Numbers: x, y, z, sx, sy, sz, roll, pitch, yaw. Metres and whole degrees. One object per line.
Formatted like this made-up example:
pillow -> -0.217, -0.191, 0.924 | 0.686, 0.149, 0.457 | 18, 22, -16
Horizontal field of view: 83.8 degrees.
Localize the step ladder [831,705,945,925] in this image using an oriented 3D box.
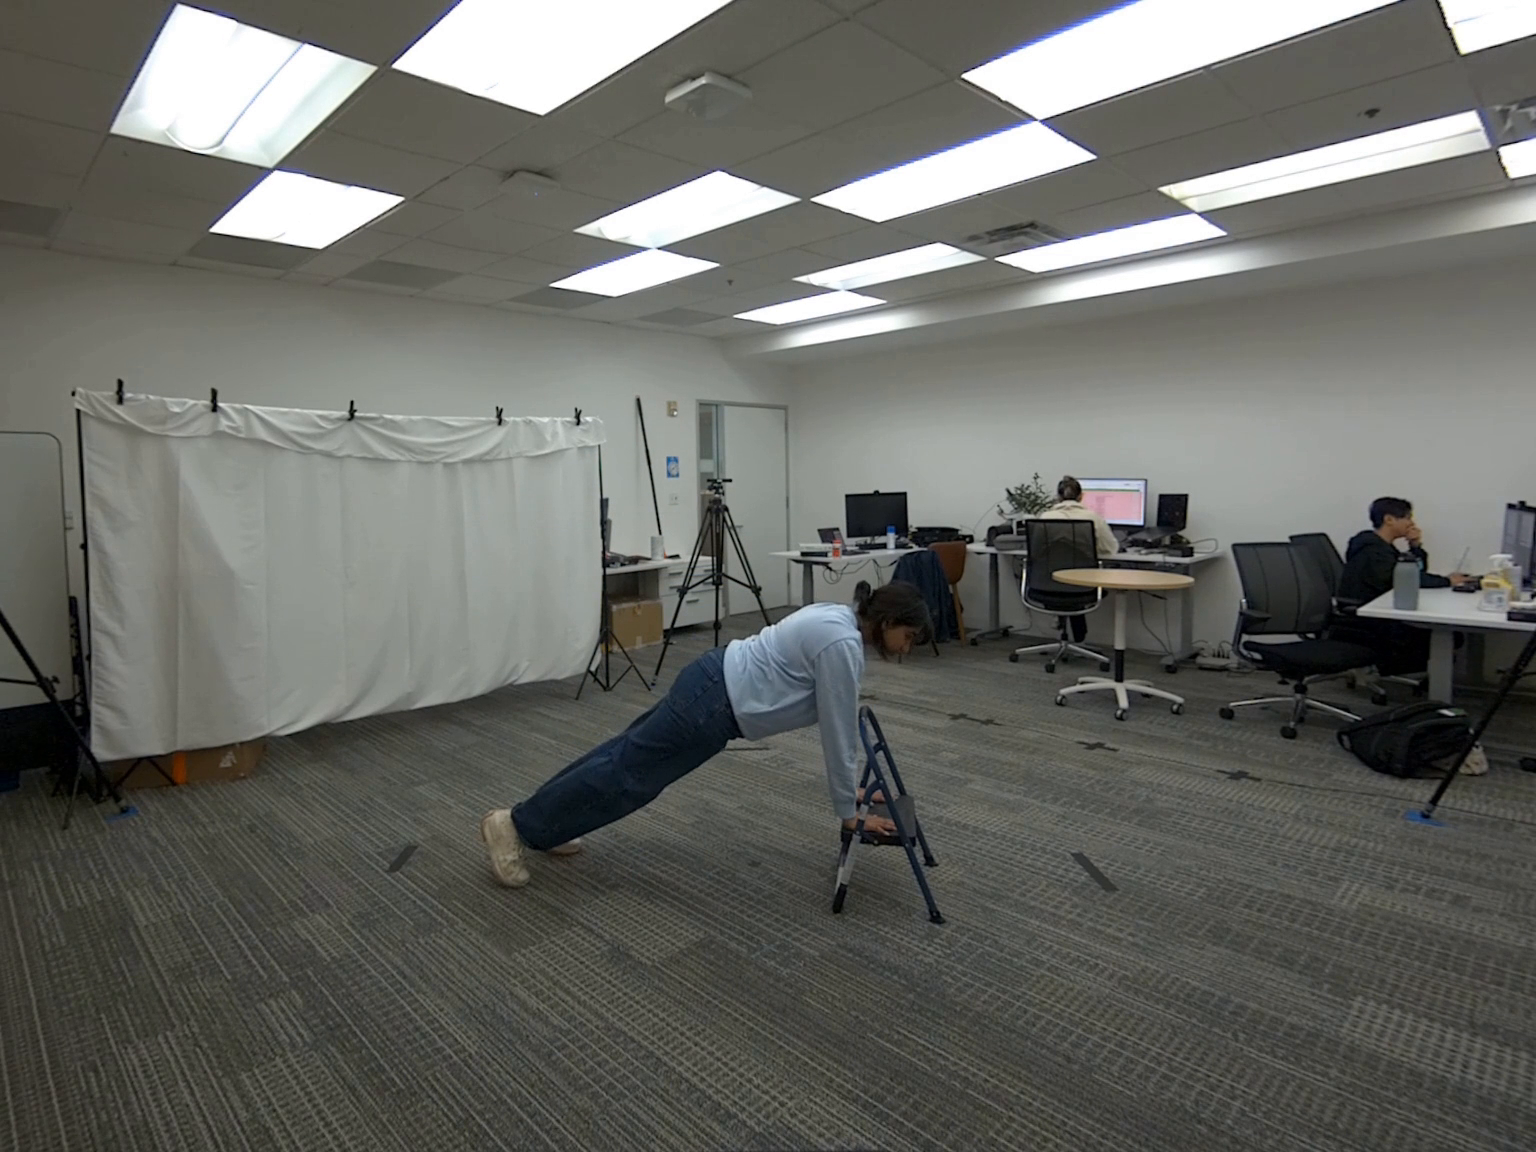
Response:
step ladder -> 0.400, 0.758, 2.887 | 0.353, 0.604, 0.428 | 0, 4, 9
